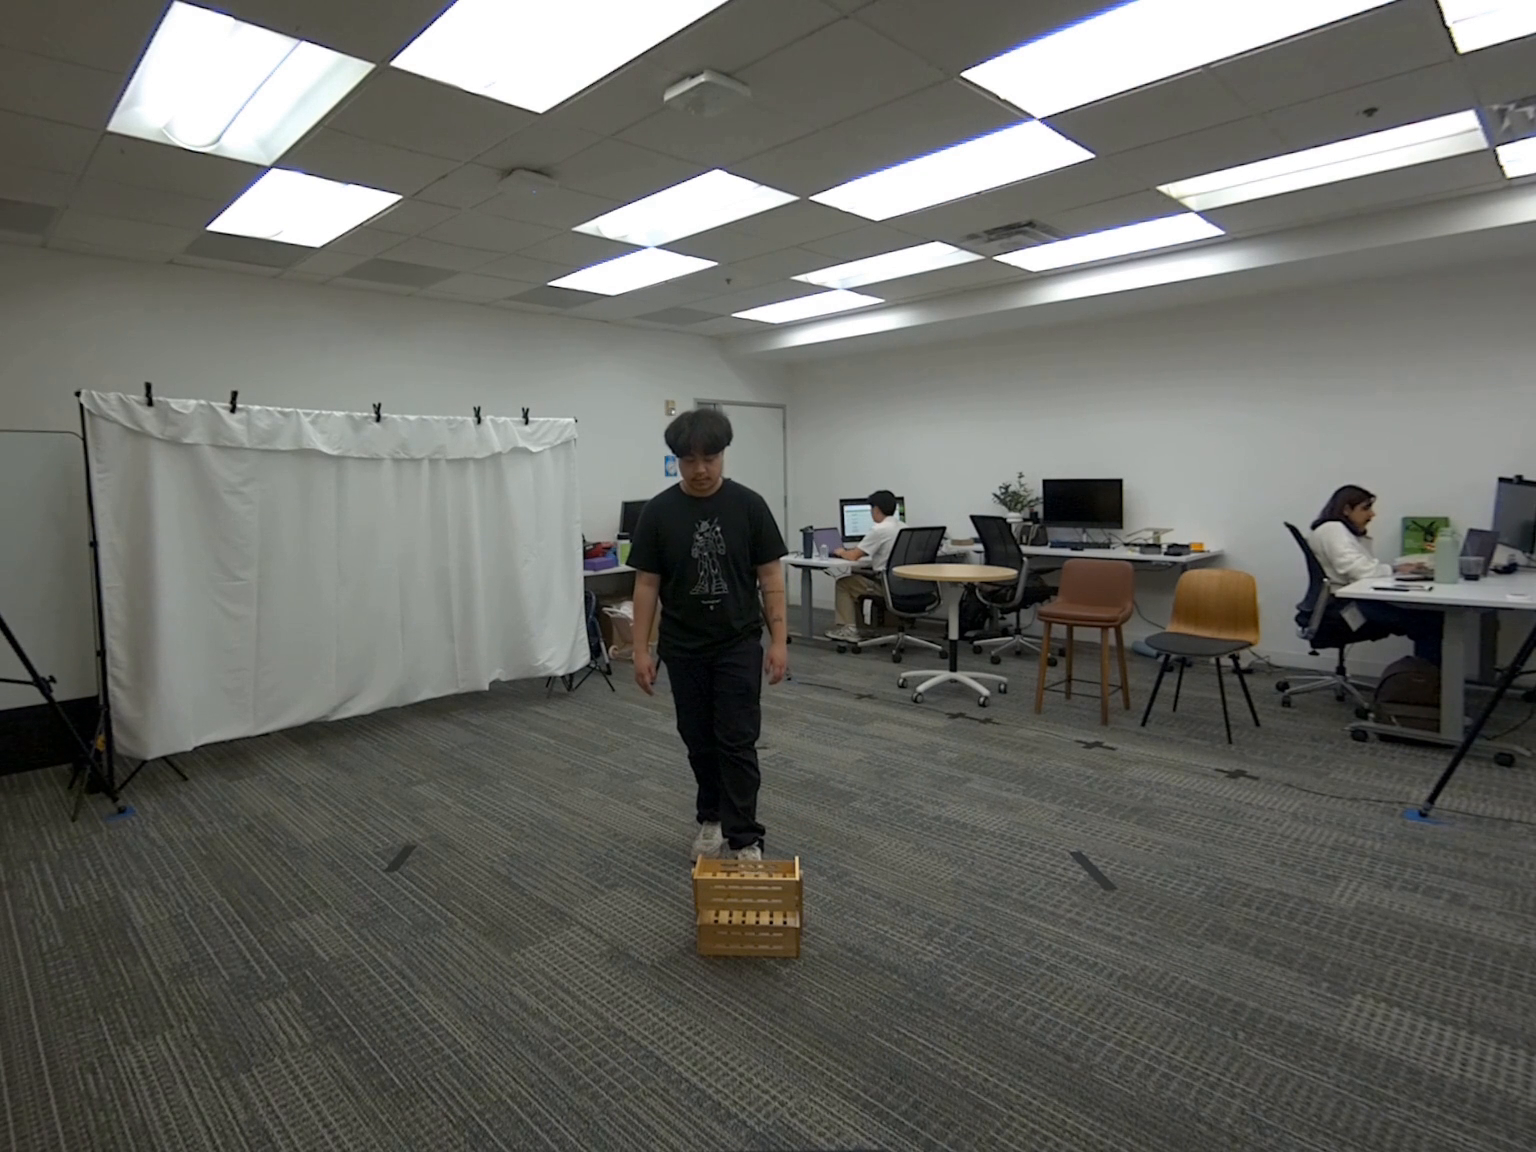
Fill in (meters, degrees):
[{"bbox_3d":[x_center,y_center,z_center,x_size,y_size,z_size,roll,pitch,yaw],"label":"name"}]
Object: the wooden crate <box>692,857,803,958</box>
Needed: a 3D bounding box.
[{"bbox_3d":[-0.057,0.973,2.596,0.326,0.272,0.302,-1,6,3],"label":"wooden crate"}]
